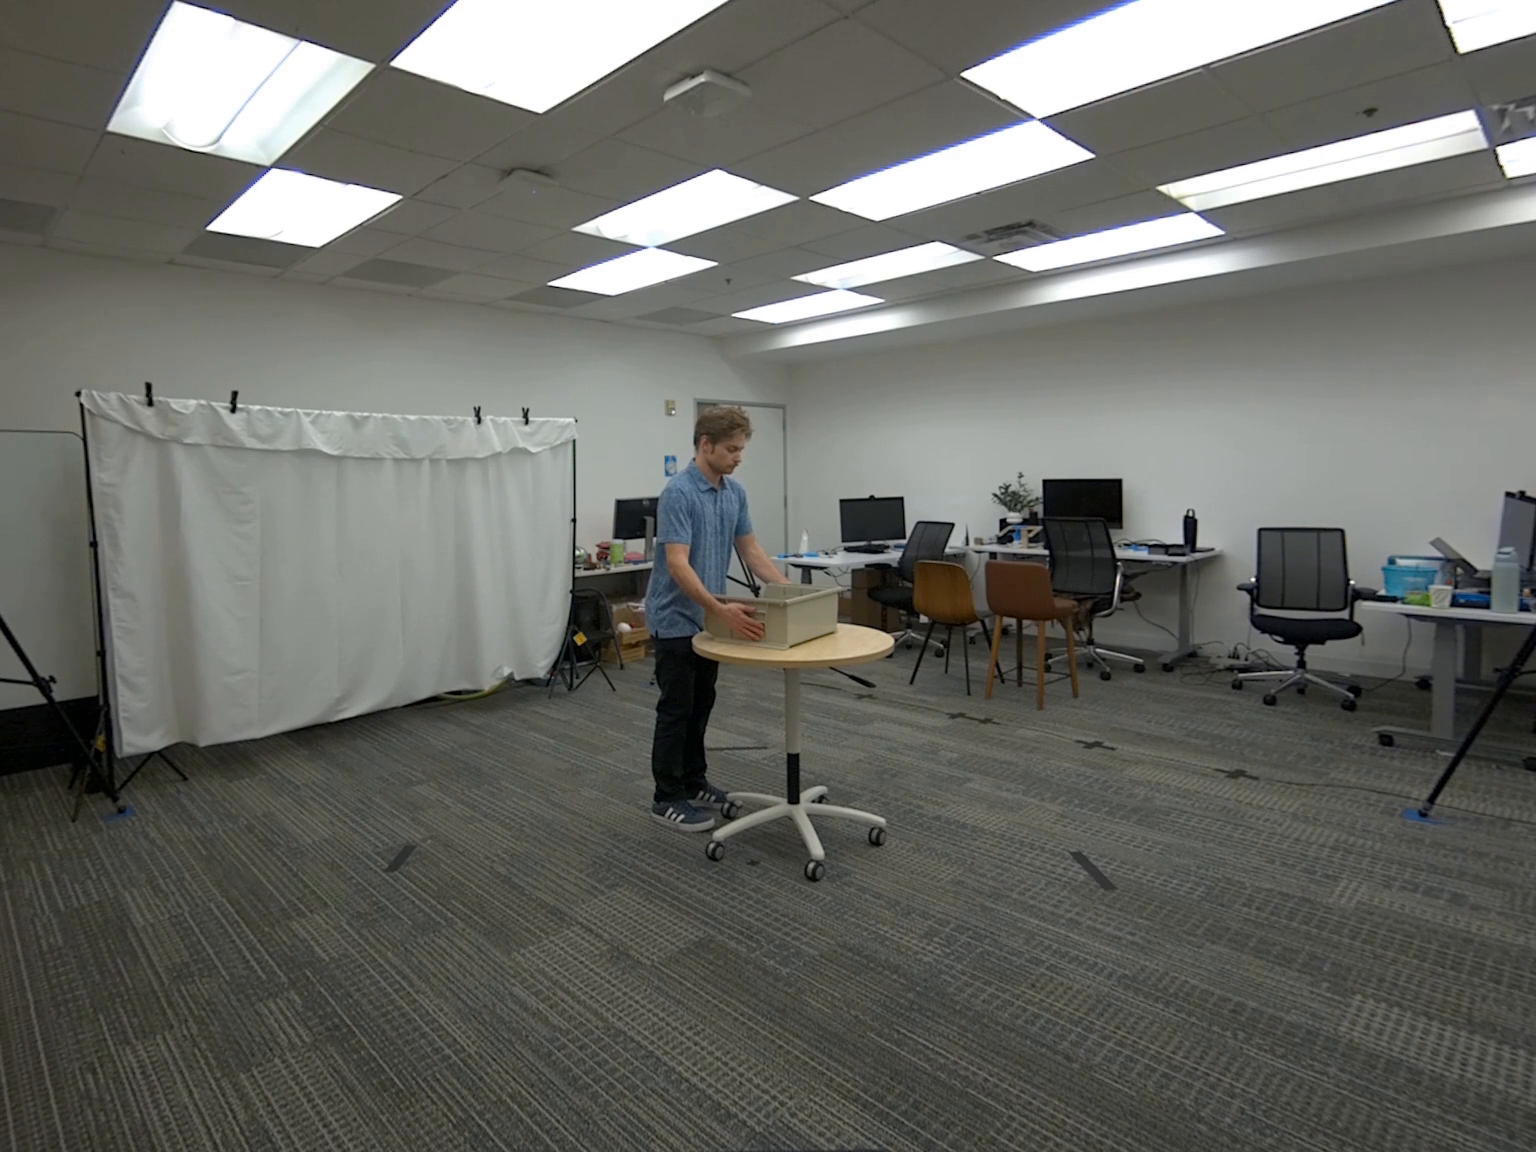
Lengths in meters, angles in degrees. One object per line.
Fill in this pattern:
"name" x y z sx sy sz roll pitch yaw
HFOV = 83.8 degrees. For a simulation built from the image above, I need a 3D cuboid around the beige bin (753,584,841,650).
"beige bin" 0.028 0.144 3.304 0.388 0.188 0.412 5 8 33
